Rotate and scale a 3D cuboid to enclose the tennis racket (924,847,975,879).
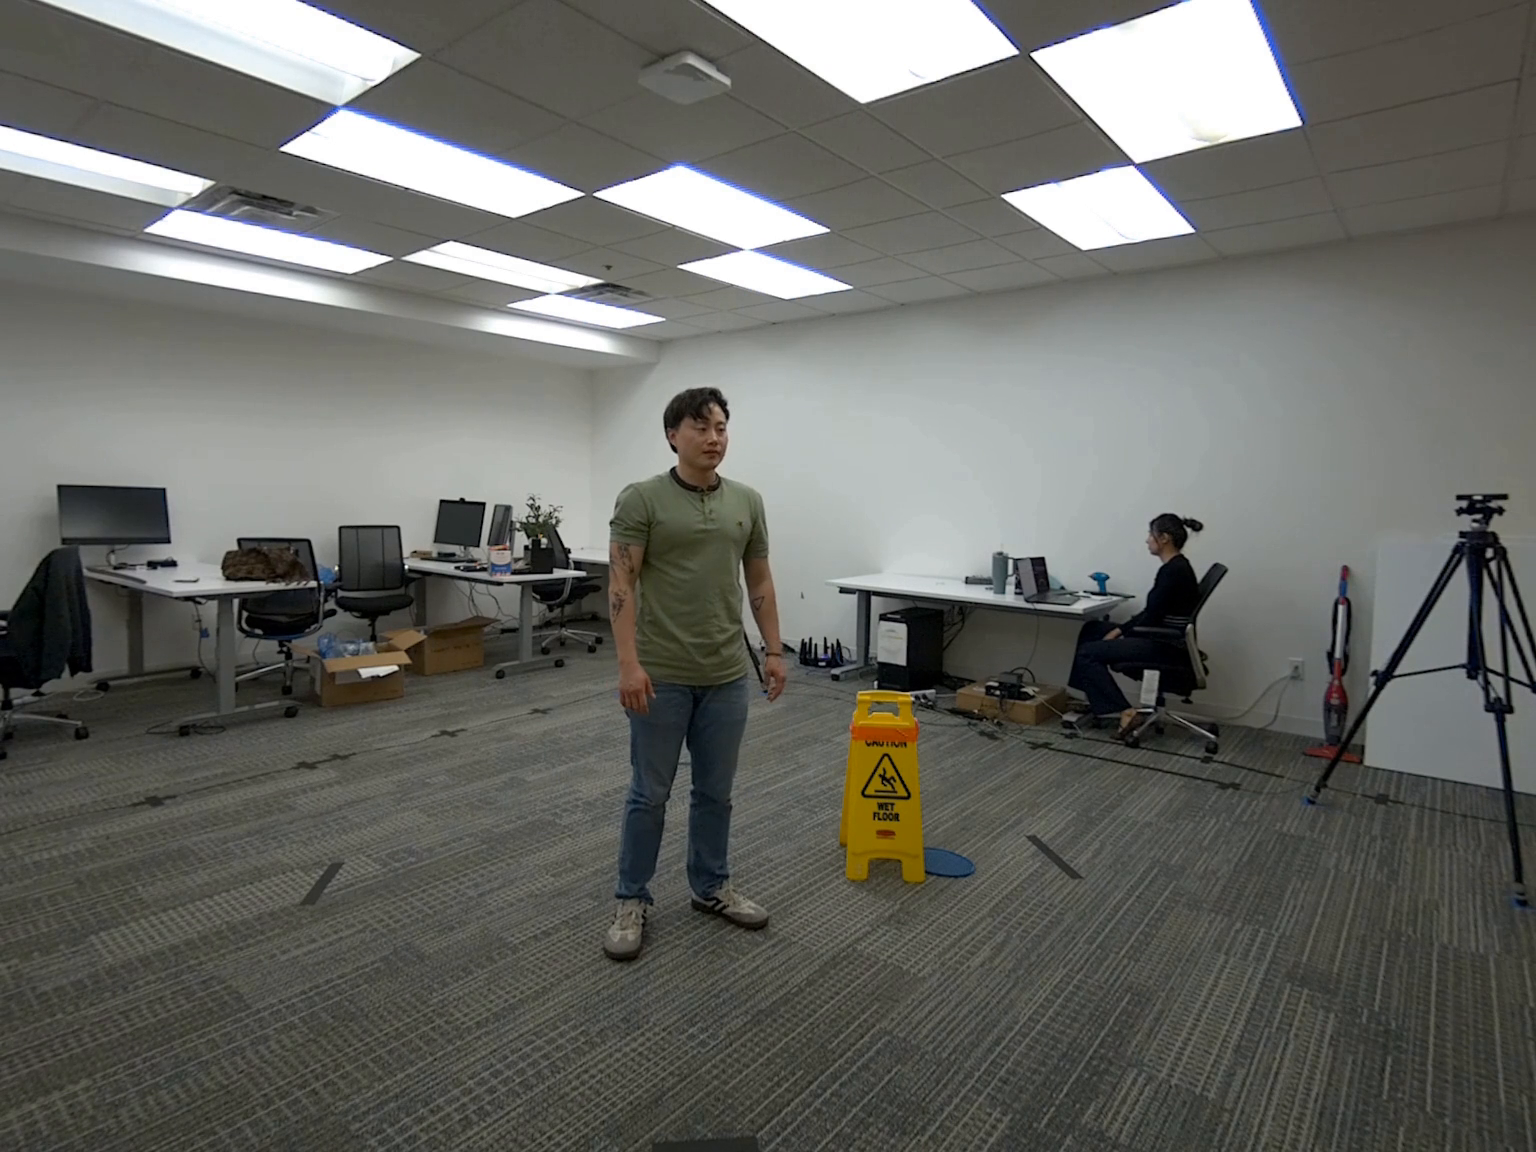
[{"bbox_3d":[0.695,1.069,3.153,0.446,0.031,0.208,6,9,32],"label":"tennis racket"}]
